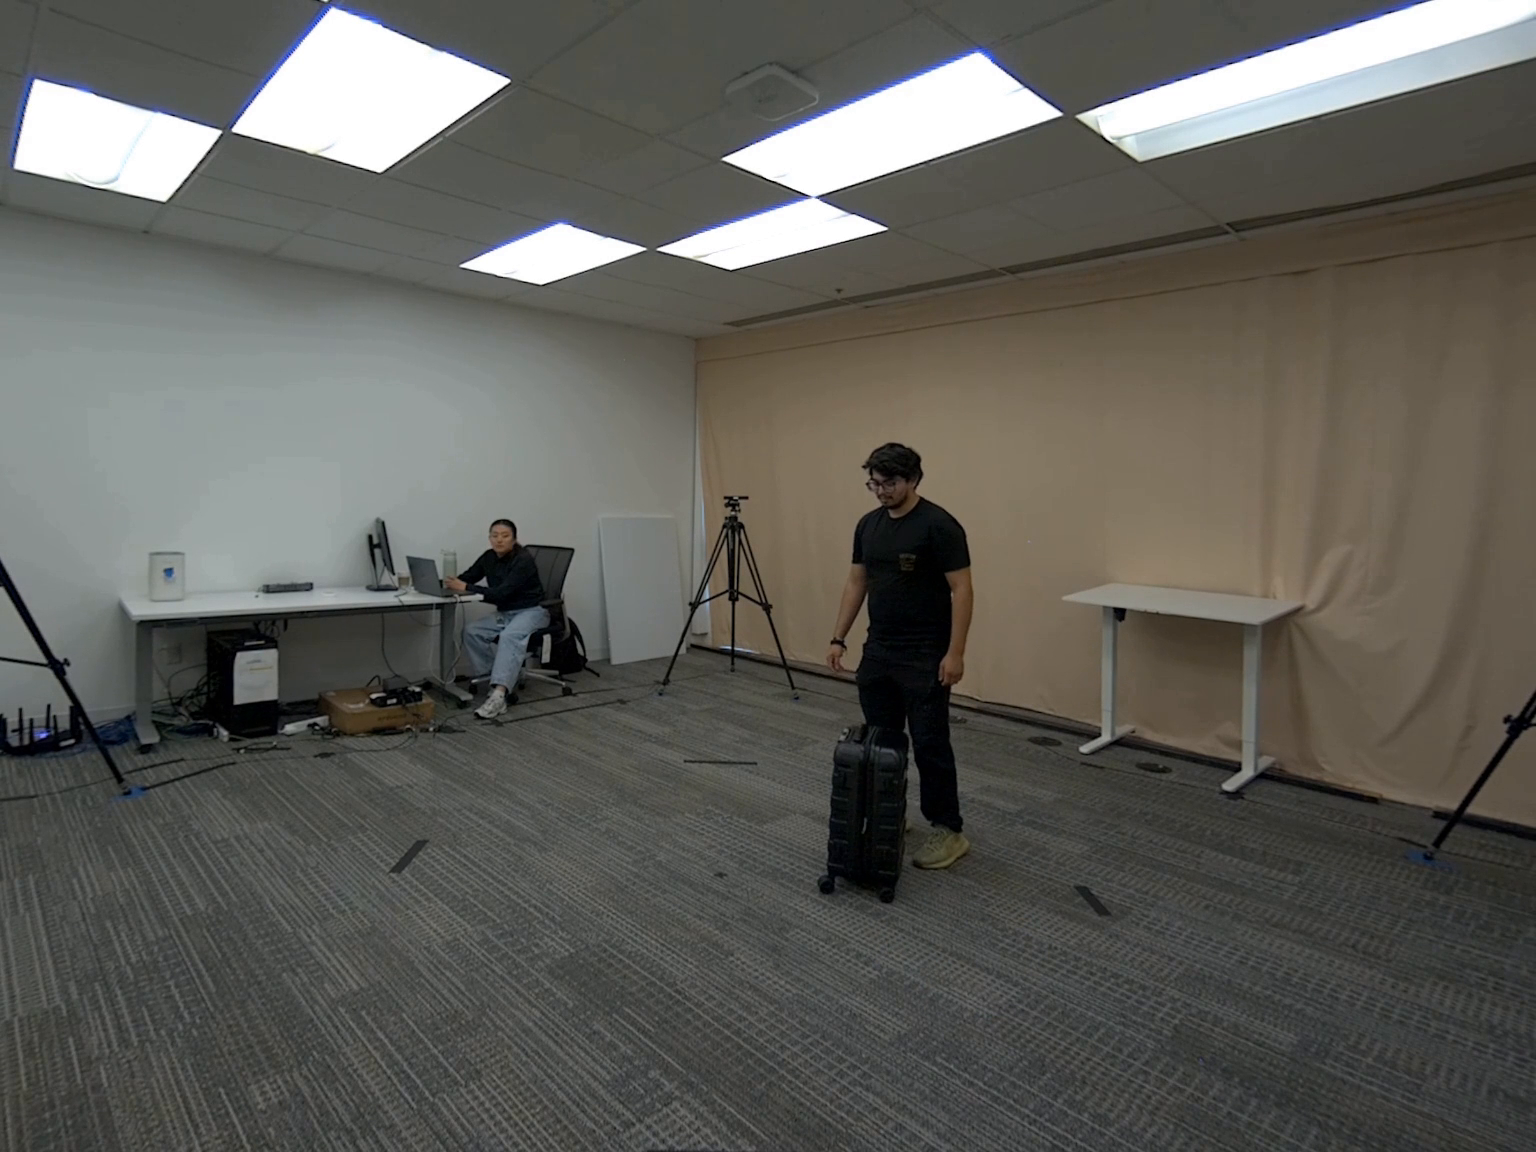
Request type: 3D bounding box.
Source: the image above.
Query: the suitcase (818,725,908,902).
[{"bbox_3d":[0.364,0.841,3.088,0.251,0.548,0.372,4,4,14],"label":"suitcase"}]
